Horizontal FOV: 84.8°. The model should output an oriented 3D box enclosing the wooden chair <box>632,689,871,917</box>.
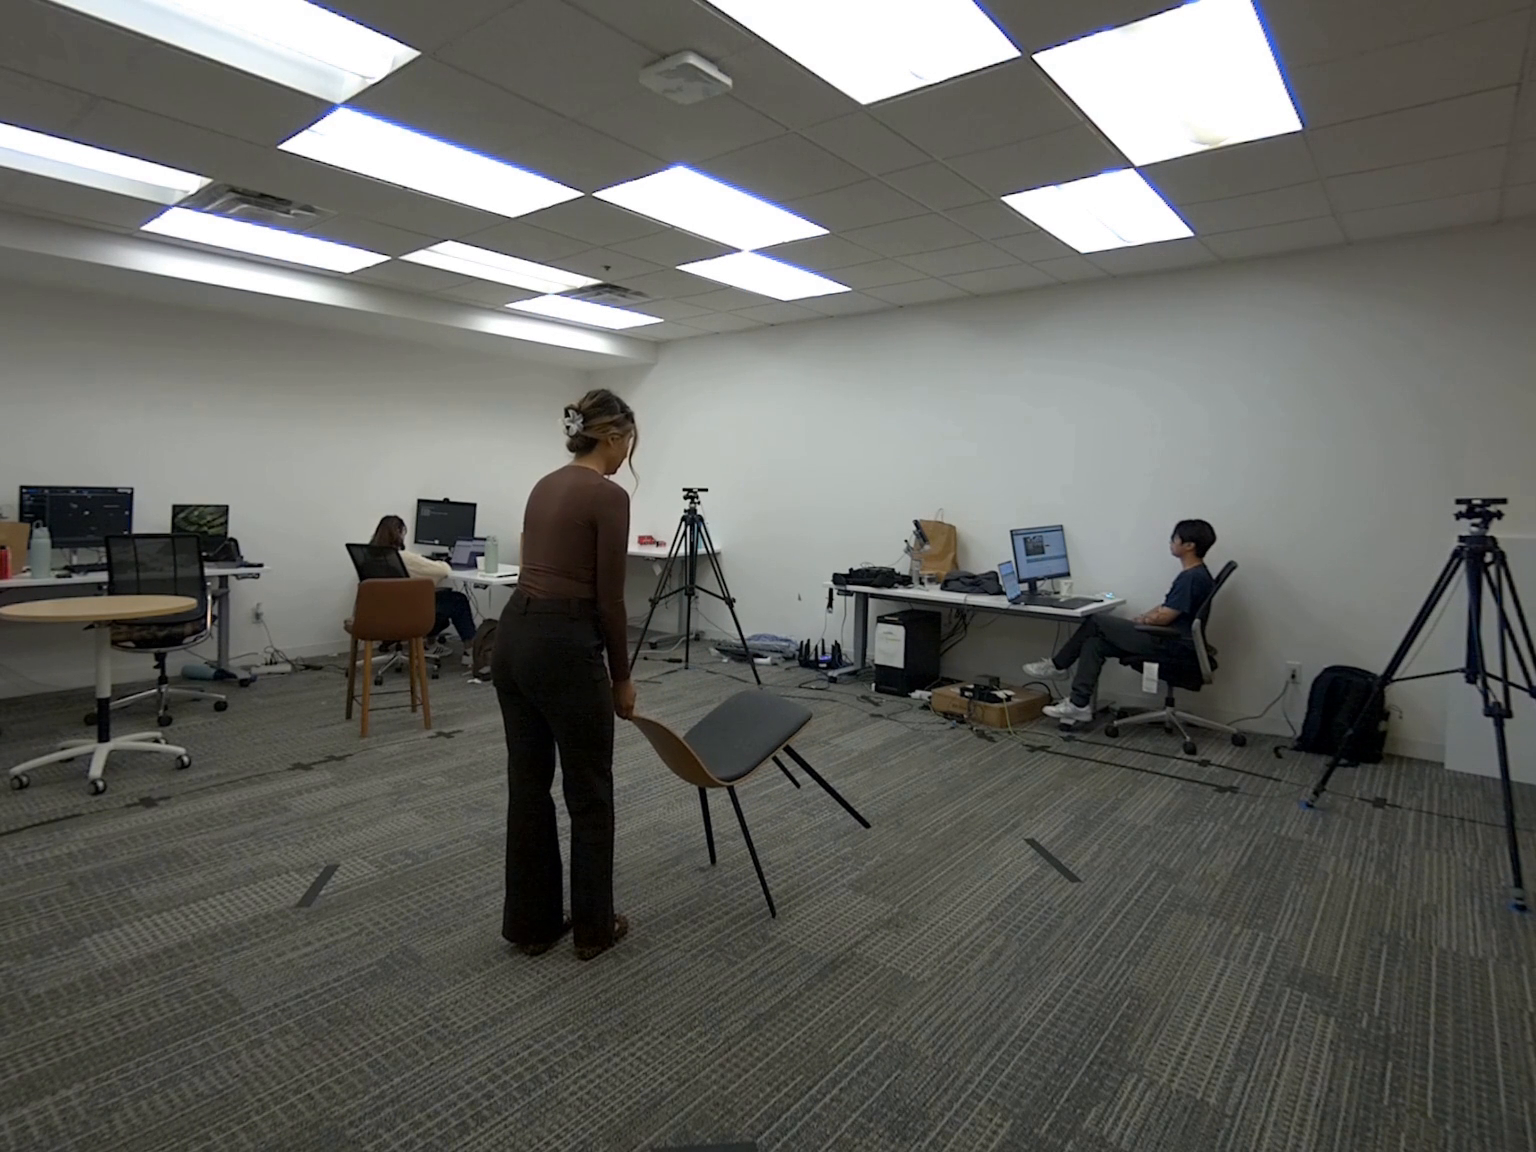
[{"bbox_3d":[-0.121,0.601,2.920,0.521,0.856,0.492,-40,20,-21],"label":"wooden chair"}]
